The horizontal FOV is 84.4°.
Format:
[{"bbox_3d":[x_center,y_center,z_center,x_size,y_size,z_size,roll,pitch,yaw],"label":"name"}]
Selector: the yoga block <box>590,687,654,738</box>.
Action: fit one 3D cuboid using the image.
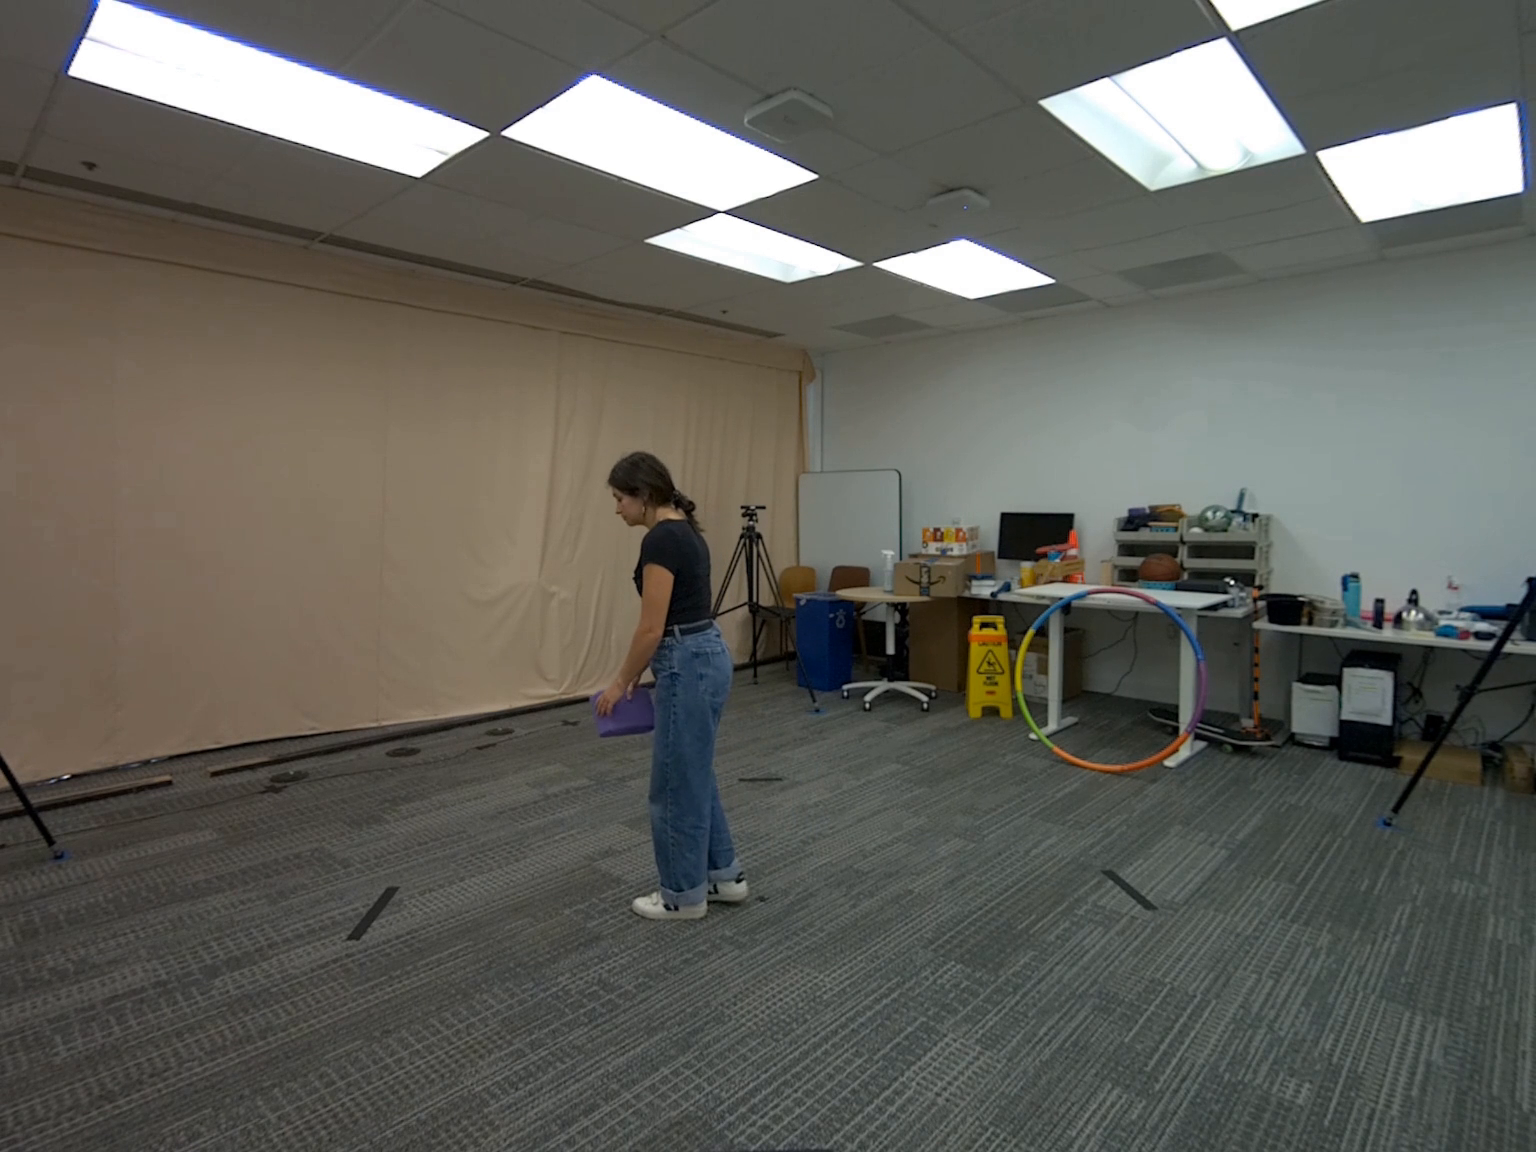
[{"bbox_3d":[-0.498,0.470,2.923,0.222,0.152,0.077,6,-34,-44],"label":"yoga block"}]
